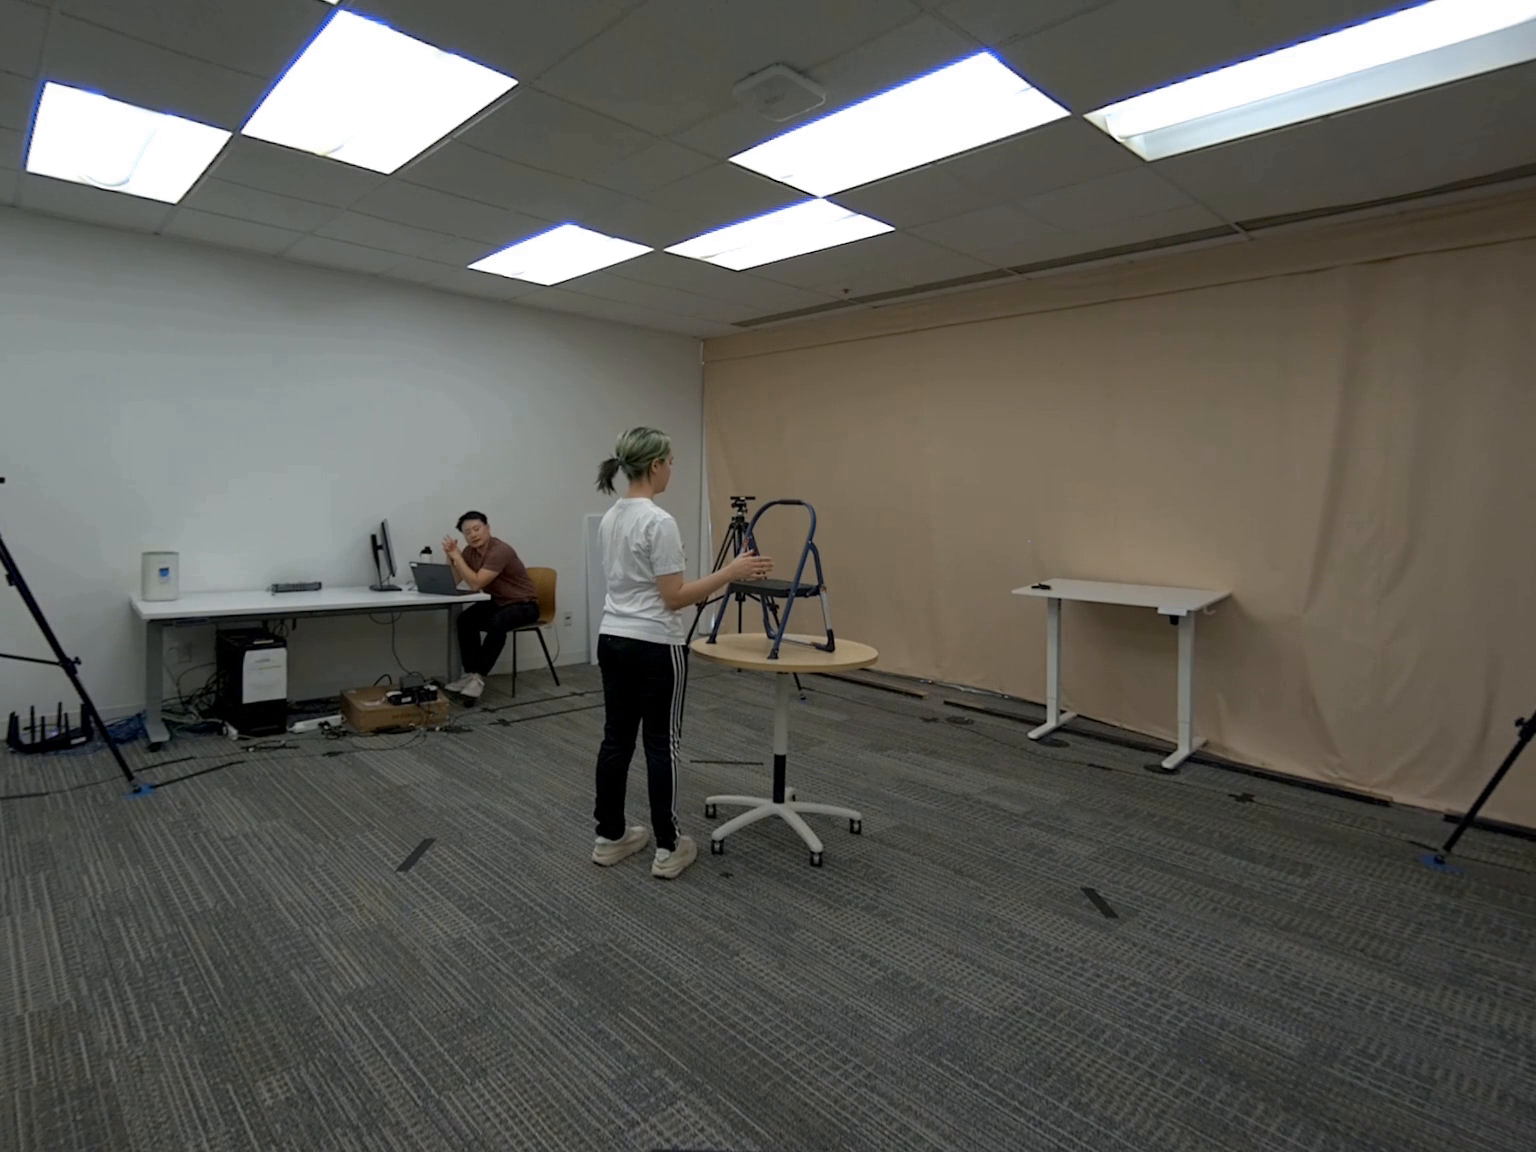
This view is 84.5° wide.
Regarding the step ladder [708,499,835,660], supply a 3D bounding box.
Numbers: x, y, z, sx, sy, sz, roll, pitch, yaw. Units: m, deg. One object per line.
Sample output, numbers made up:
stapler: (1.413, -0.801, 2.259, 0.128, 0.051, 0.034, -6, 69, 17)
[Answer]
step ladder: (0.013, -0.008, 3.428, 0.341, 0.604, 0.441, -1, 5, -39)
